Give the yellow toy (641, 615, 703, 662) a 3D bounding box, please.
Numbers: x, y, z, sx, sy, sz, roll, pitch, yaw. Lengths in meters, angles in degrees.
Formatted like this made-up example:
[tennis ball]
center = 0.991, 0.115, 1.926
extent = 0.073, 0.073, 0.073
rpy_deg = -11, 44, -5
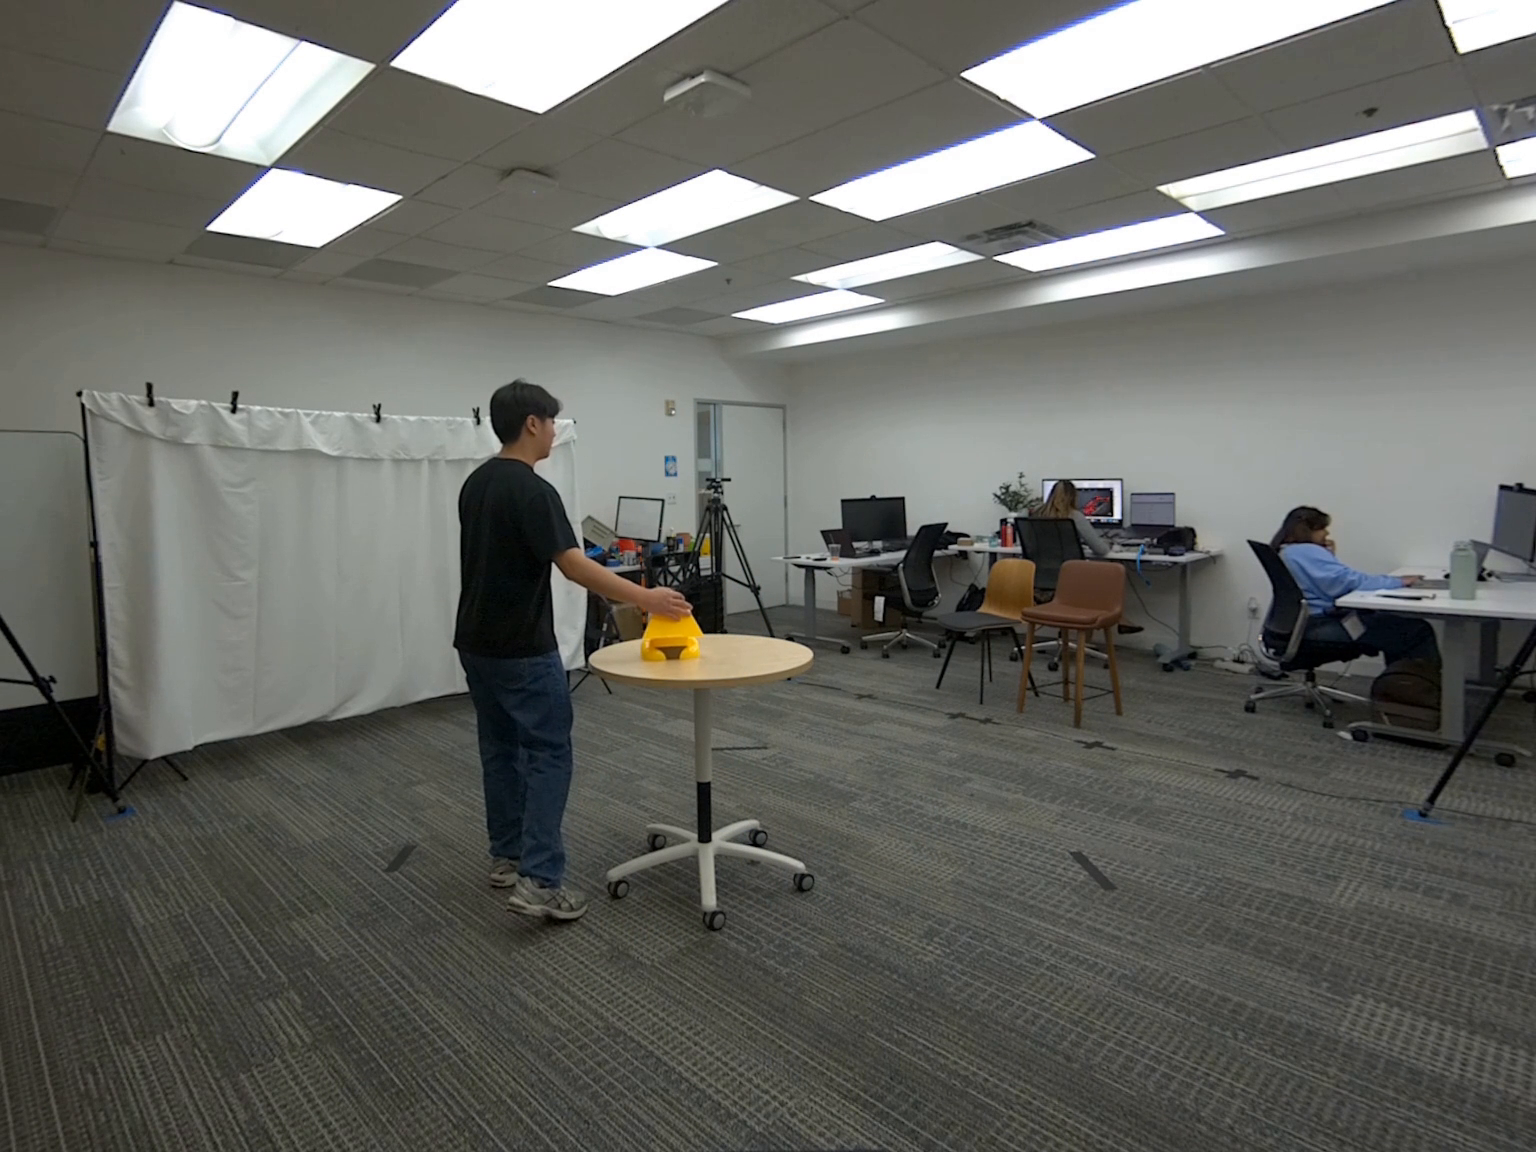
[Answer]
[yellow toy]
center = -0.337, 0.158, 2.913
extent = 0.202, 0.230, 0.196
rpy_deg = -3, 5, -13
